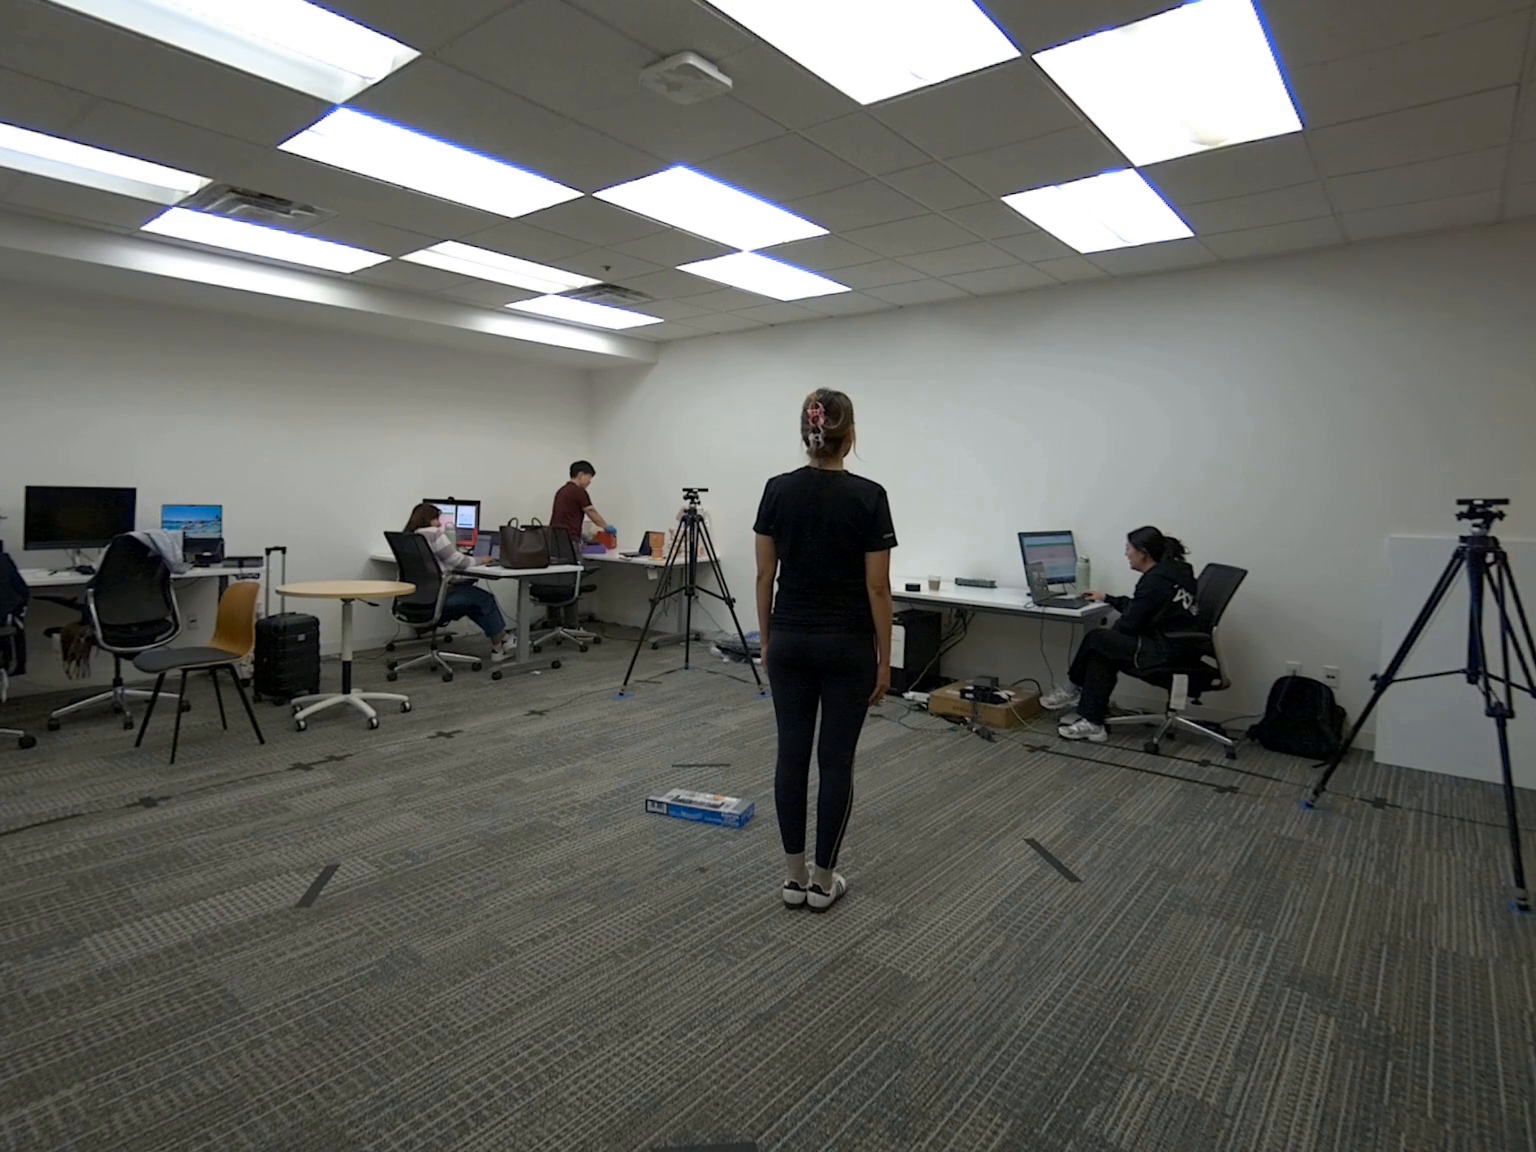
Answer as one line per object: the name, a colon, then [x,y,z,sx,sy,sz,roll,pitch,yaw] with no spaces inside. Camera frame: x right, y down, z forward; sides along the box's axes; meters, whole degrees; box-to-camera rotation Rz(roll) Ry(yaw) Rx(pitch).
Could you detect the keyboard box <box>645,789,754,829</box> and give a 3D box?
keyboard box: [-0.301,0.986,3.650,0.447,0.059,0.172,3,5,22]
